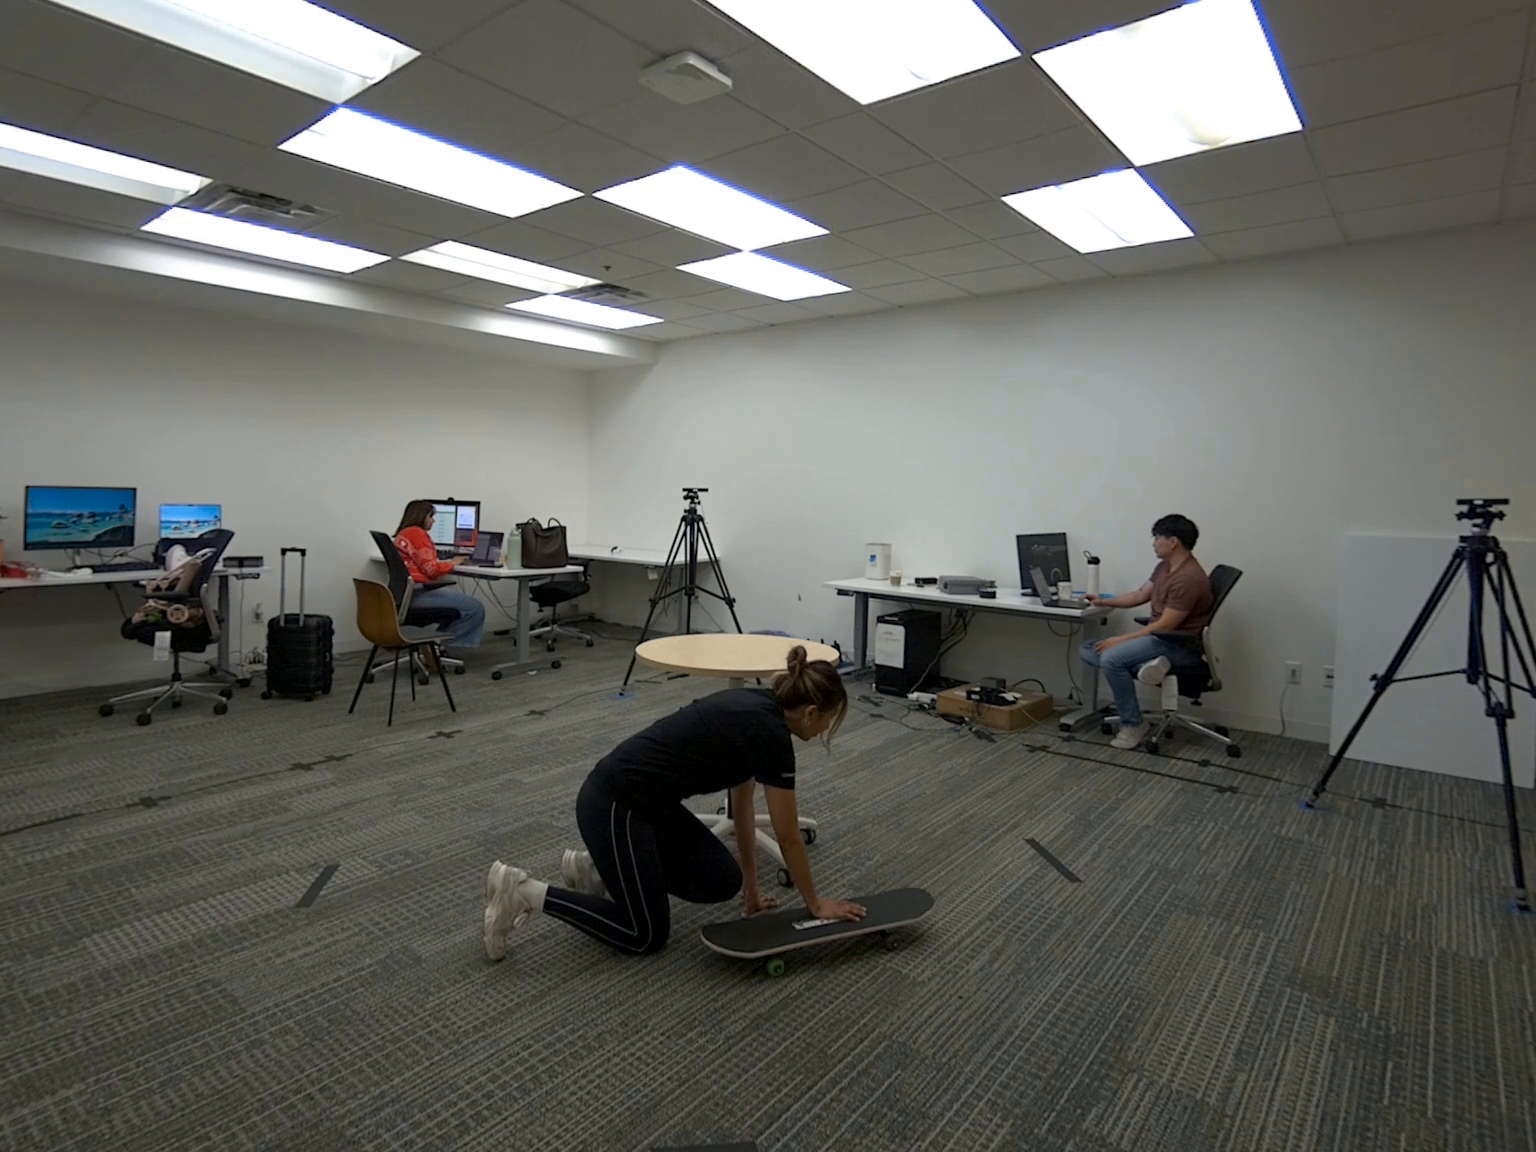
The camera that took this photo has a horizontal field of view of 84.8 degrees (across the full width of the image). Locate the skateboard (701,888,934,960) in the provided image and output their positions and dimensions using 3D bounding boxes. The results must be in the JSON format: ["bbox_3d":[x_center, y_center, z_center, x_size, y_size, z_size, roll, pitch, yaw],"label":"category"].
[{"bbox_3d":[0.169,1.077,2.579,0.767,0.110,0.199,-2,6,-25],"label":"skateboard"}]
